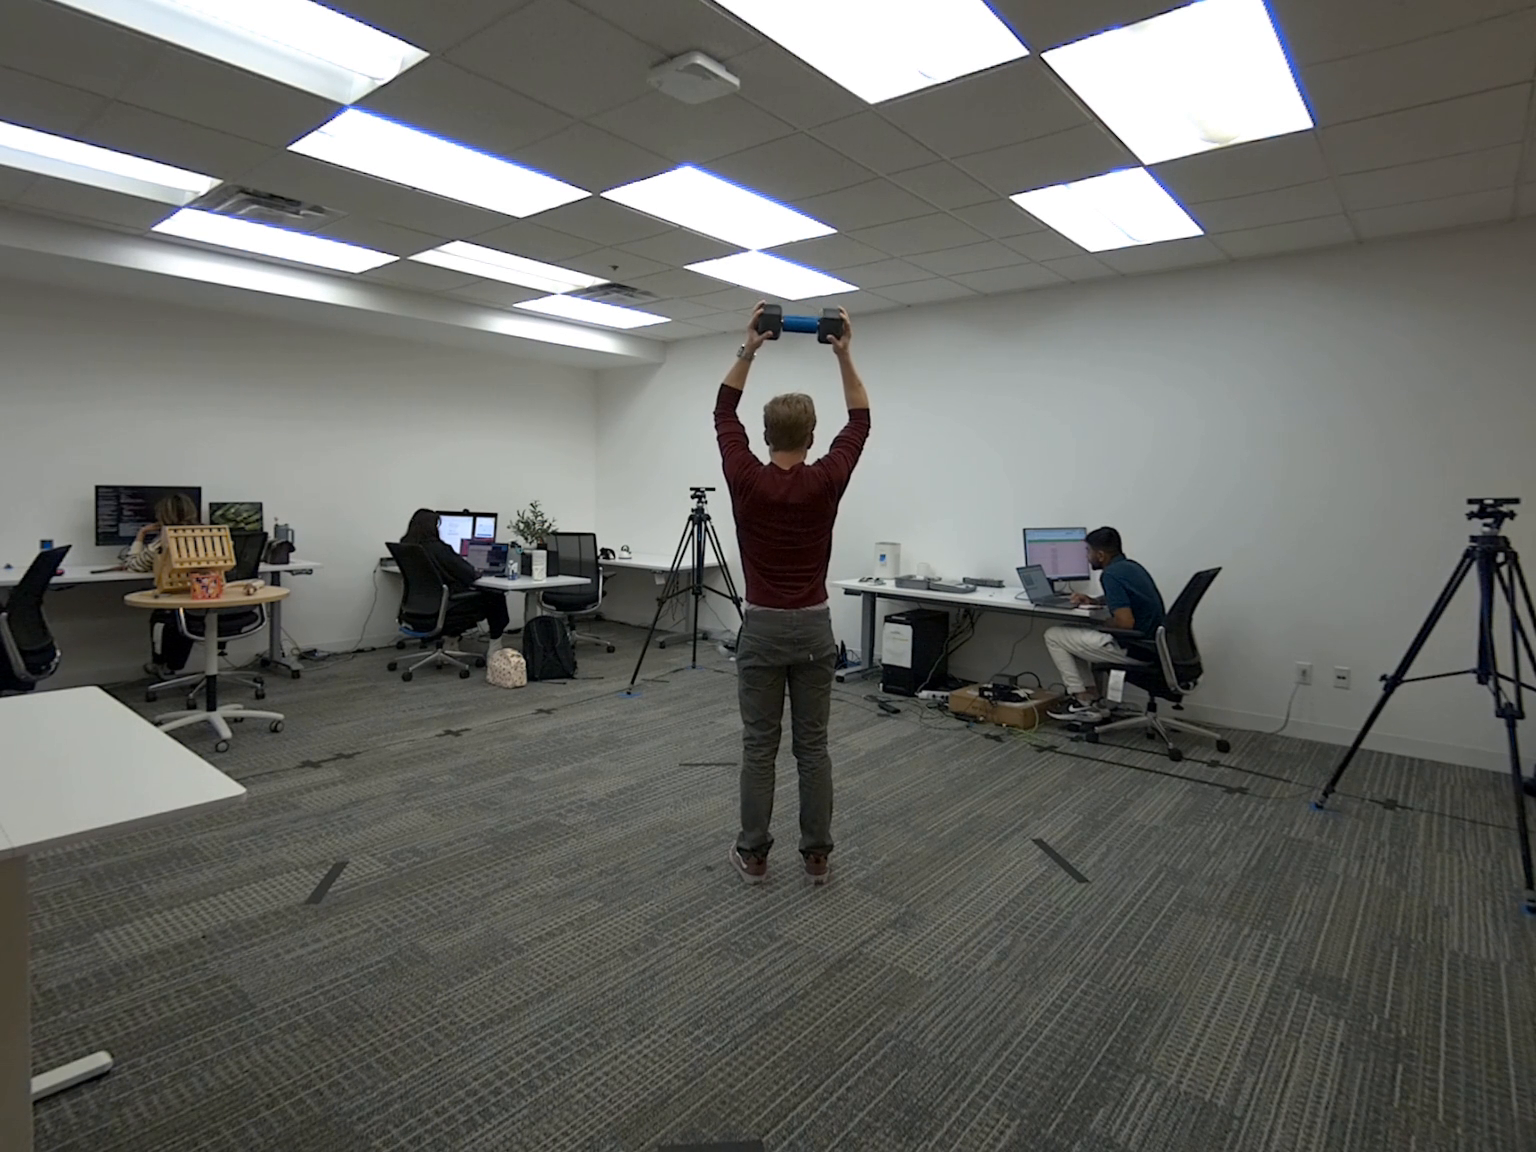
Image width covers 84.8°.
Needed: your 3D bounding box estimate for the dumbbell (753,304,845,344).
[{"bbox_3d":[0.113,-0.885,2.991,0.294,0.110,0.121,5,-14,1],"label":"dumbbell"}]
